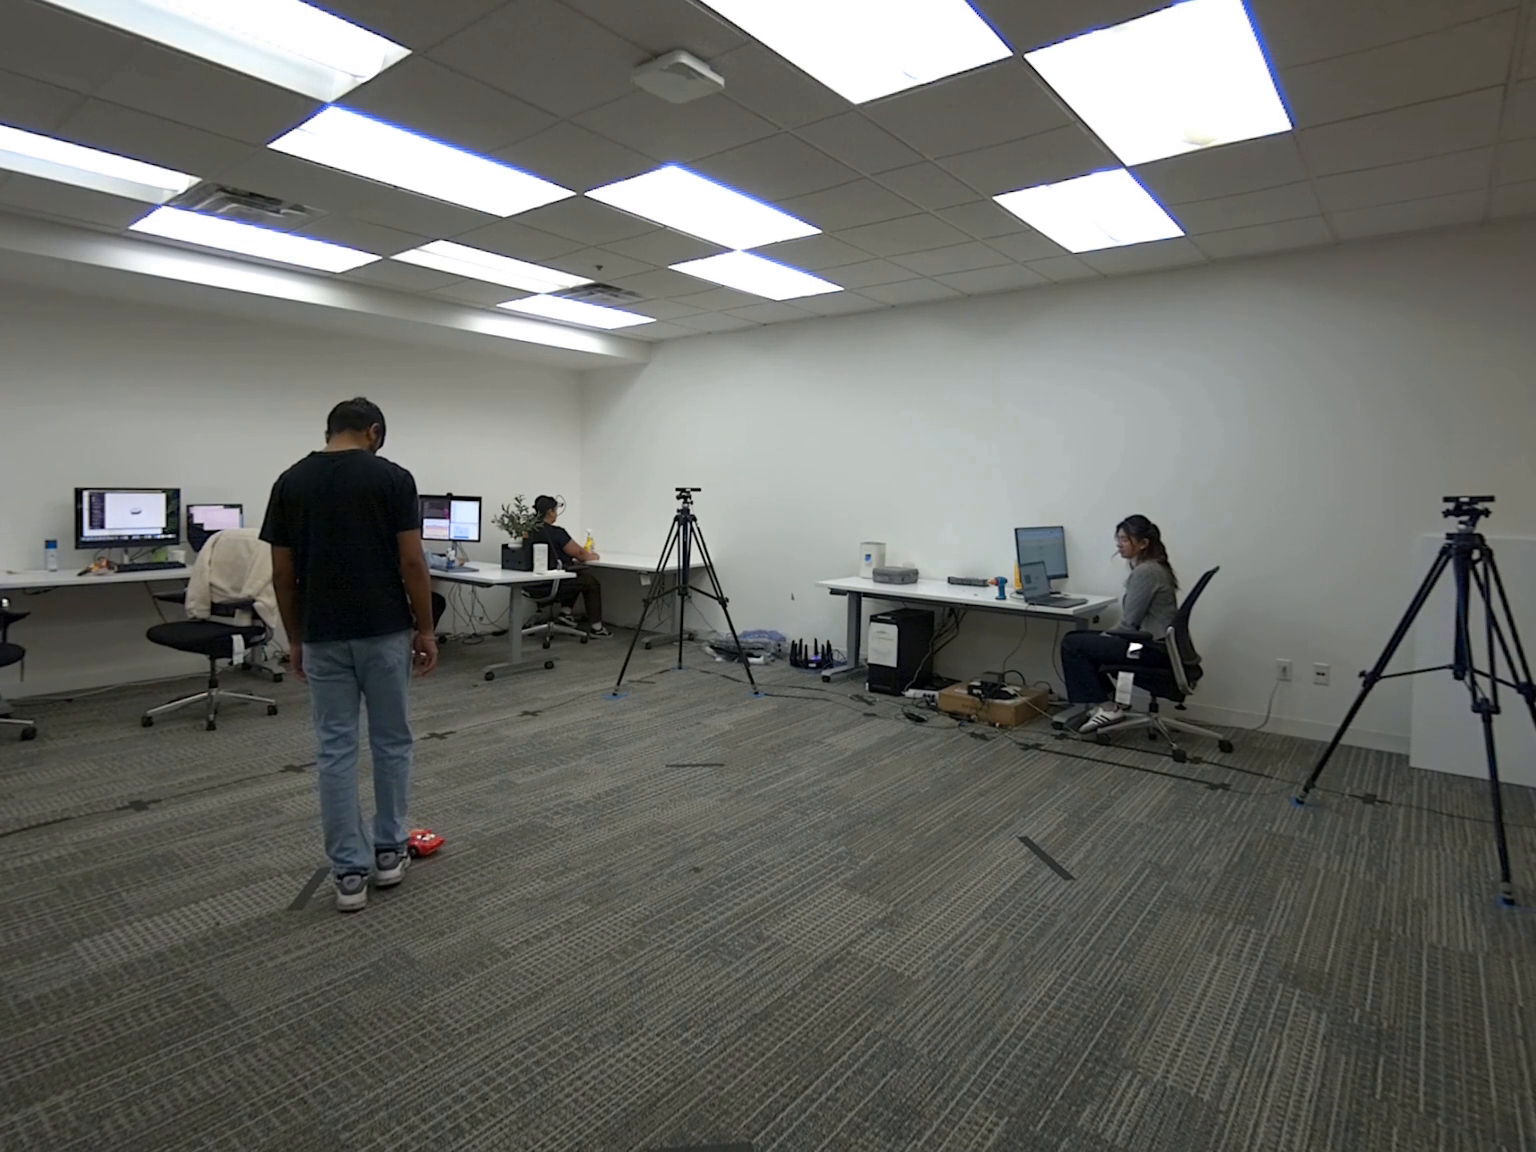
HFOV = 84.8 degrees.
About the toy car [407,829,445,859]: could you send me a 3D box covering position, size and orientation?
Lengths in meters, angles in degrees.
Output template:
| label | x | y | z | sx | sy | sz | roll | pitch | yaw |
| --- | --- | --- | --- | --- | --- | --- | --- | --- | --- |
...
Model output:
| label | x | y | z | sx | sy | sz | roll | pitch | yaw |
| --- | --- | --- | --- | --- | --- | --- | --- | --- | --- |
| toy car | -1.356 | 1.012 | 3.228 | 0.260 | 0.083 | 0.127 | -8 | -1 | 24 |
